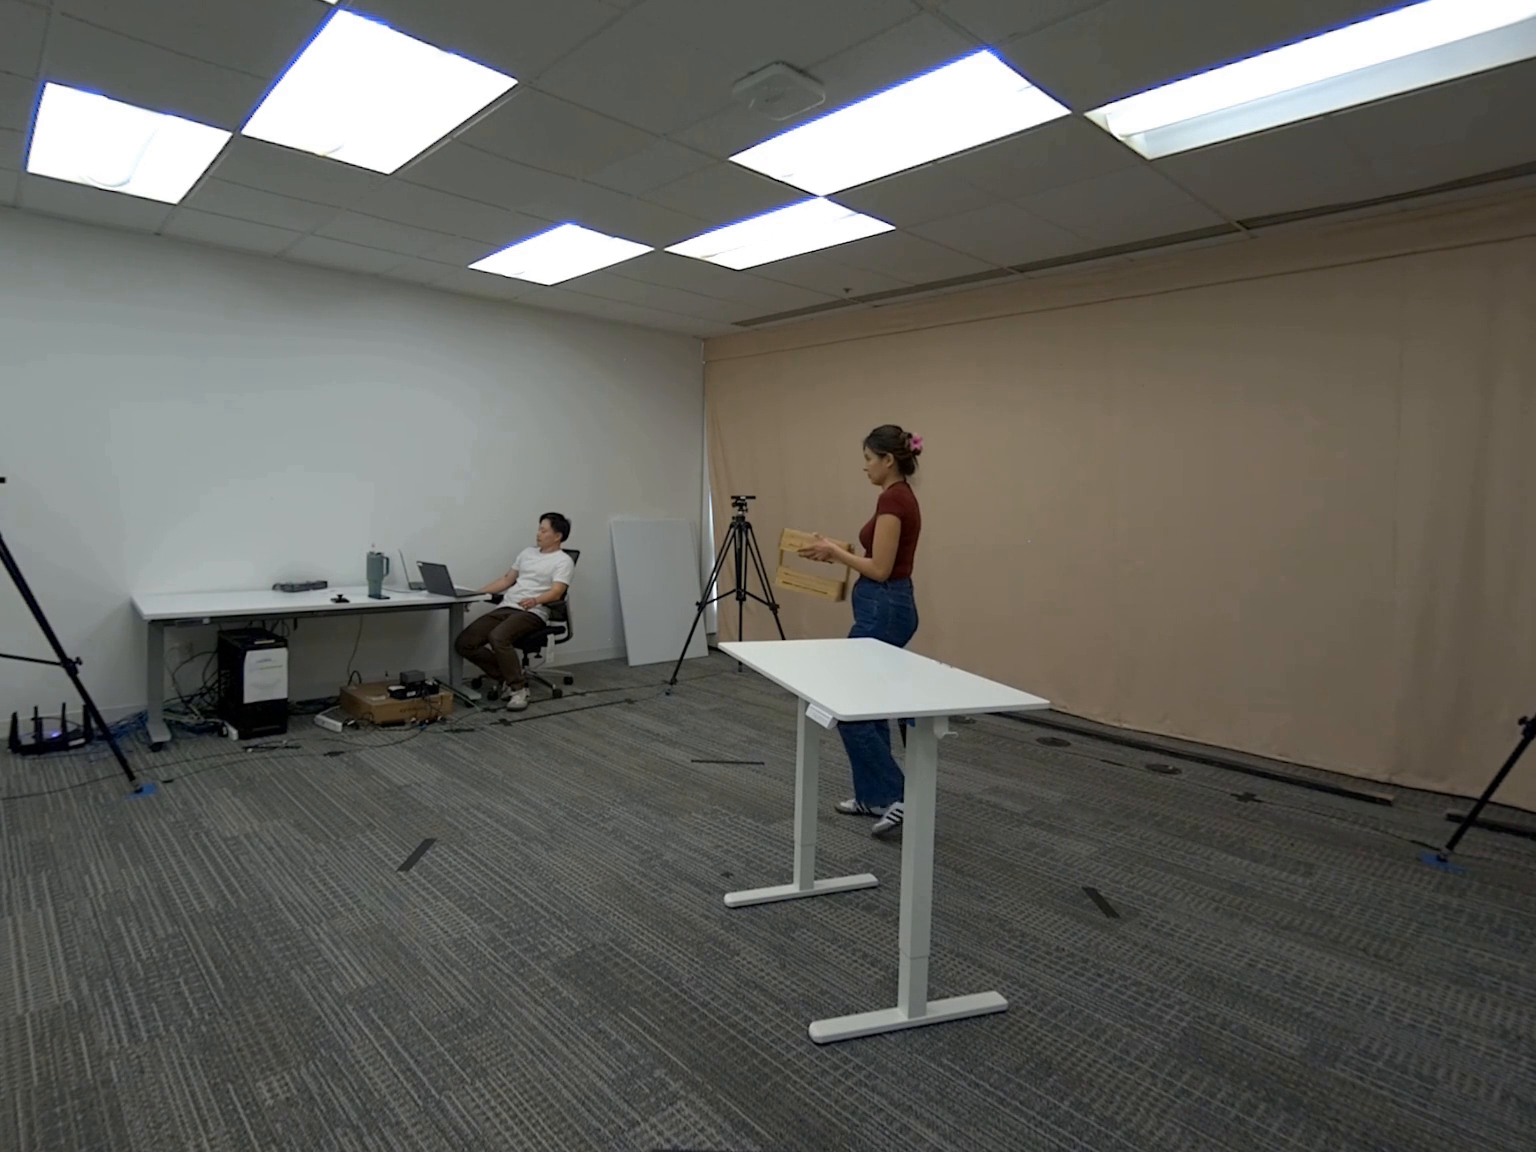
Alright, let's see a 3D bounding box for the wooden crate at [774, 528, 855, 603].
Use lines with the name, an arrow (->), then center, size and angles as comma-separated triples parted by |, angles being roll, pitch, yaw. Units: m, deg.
wooden crate -> 0.211, -0.053, 3.756 | 0.329, 0.273, 0.298 | 13, 4, 16
